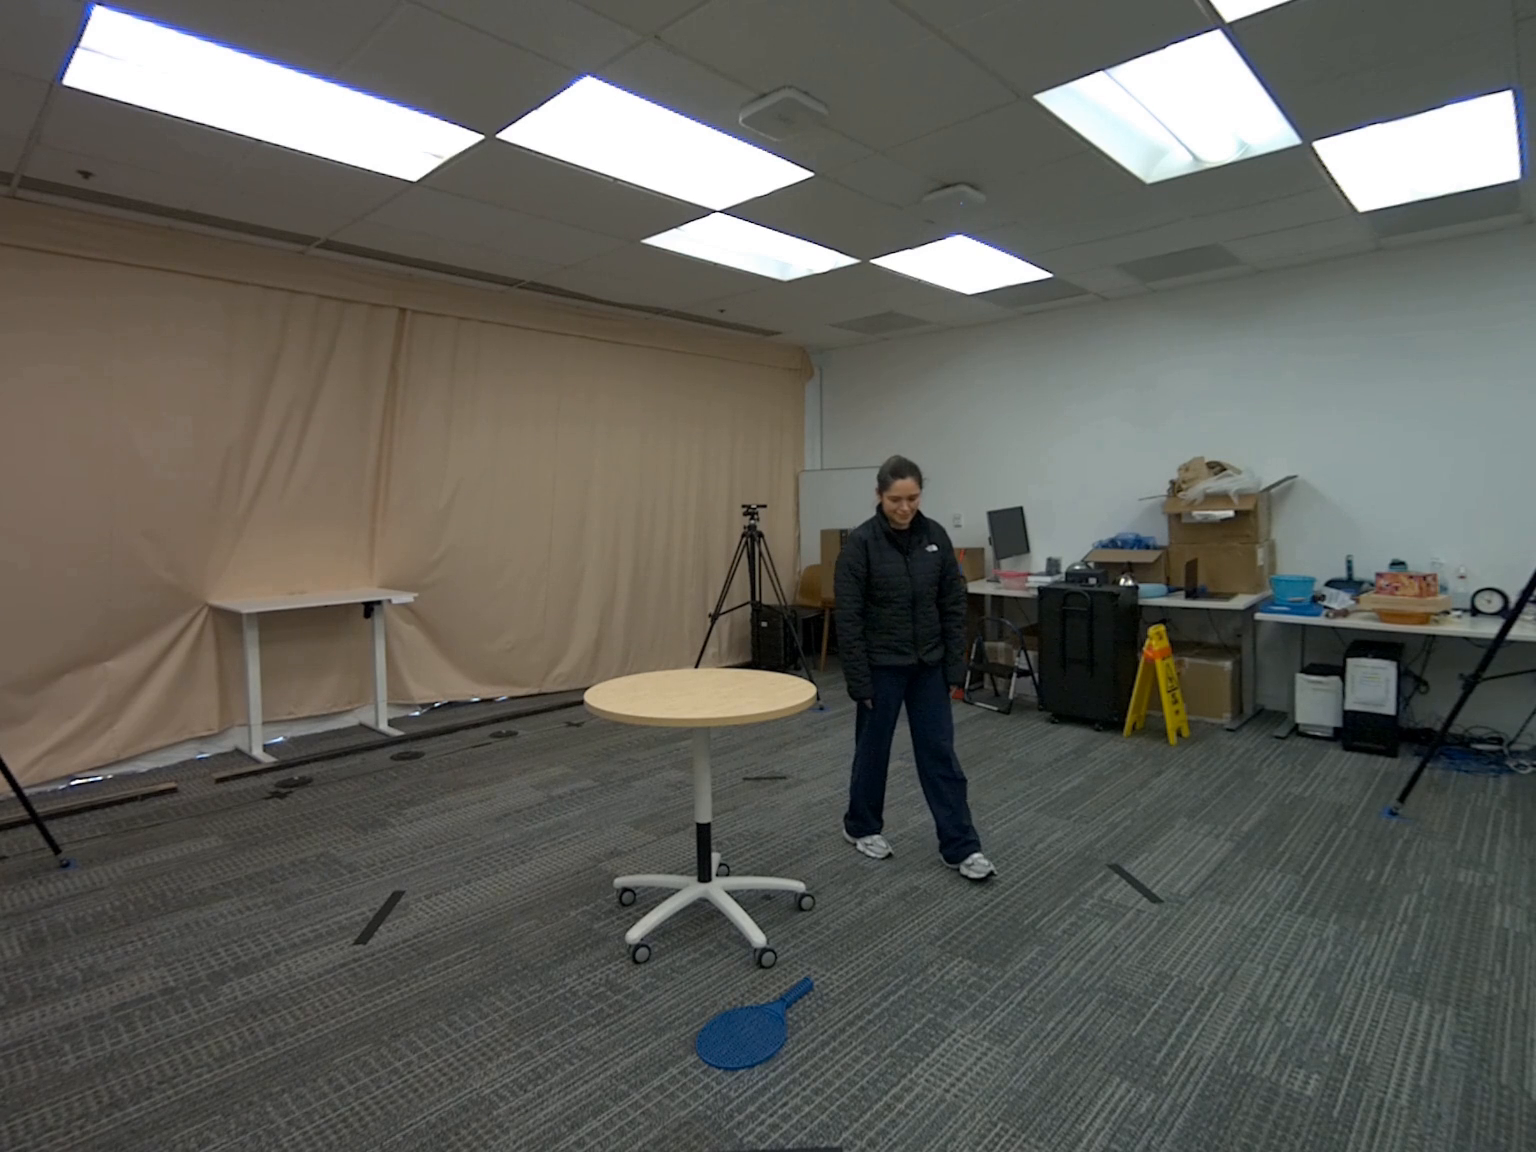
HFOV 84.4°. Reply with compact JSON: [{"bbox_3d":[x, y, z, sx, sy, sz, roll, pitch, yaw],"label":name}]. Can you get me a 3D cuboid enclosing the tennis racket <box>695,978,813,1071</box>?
[{"bbox_3d":[0.003,1.189,2.260,0.221,0.031,0.420,3,8,42],"label":"tennis racket"}]
